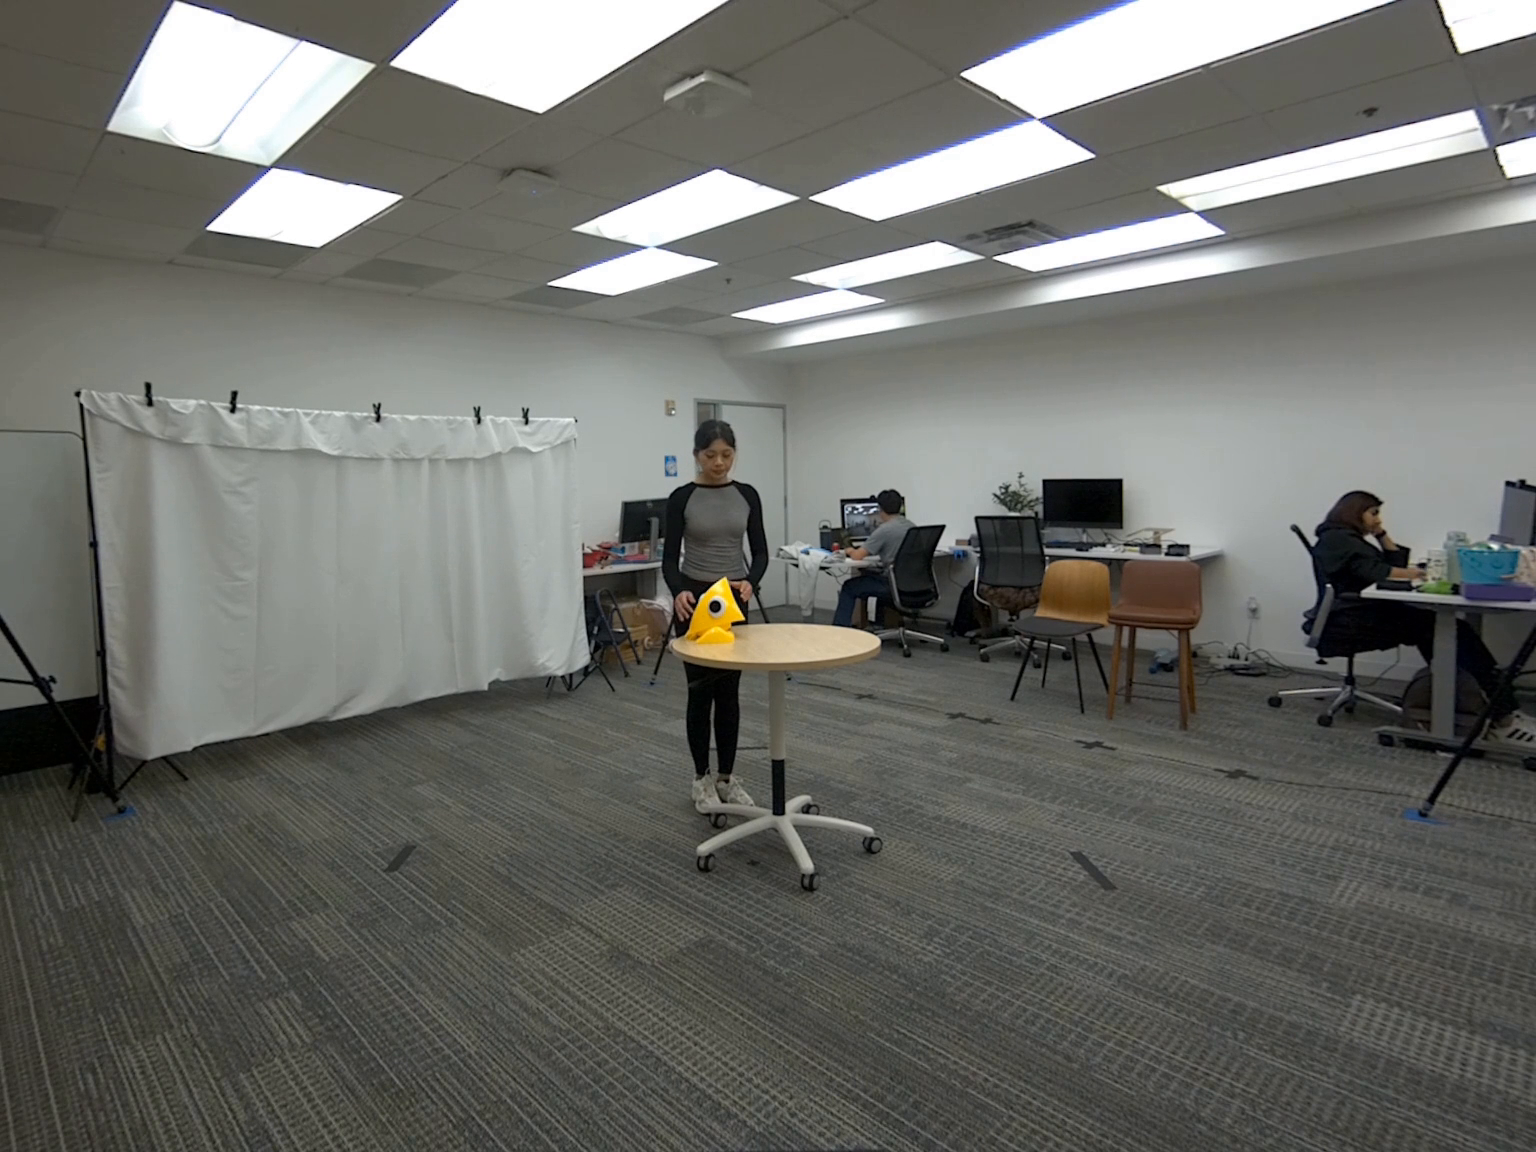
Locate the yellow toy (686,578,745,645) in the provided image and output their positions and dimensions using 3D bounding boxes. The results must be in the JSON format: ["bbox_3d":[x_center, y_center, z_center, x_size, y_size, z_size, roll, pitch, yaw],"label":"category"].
[{"bbox_3d":[-0.219,0.126,3.238,0.189,0.230,0.210,-4,5,-26],"label":"yellow toy"}]
